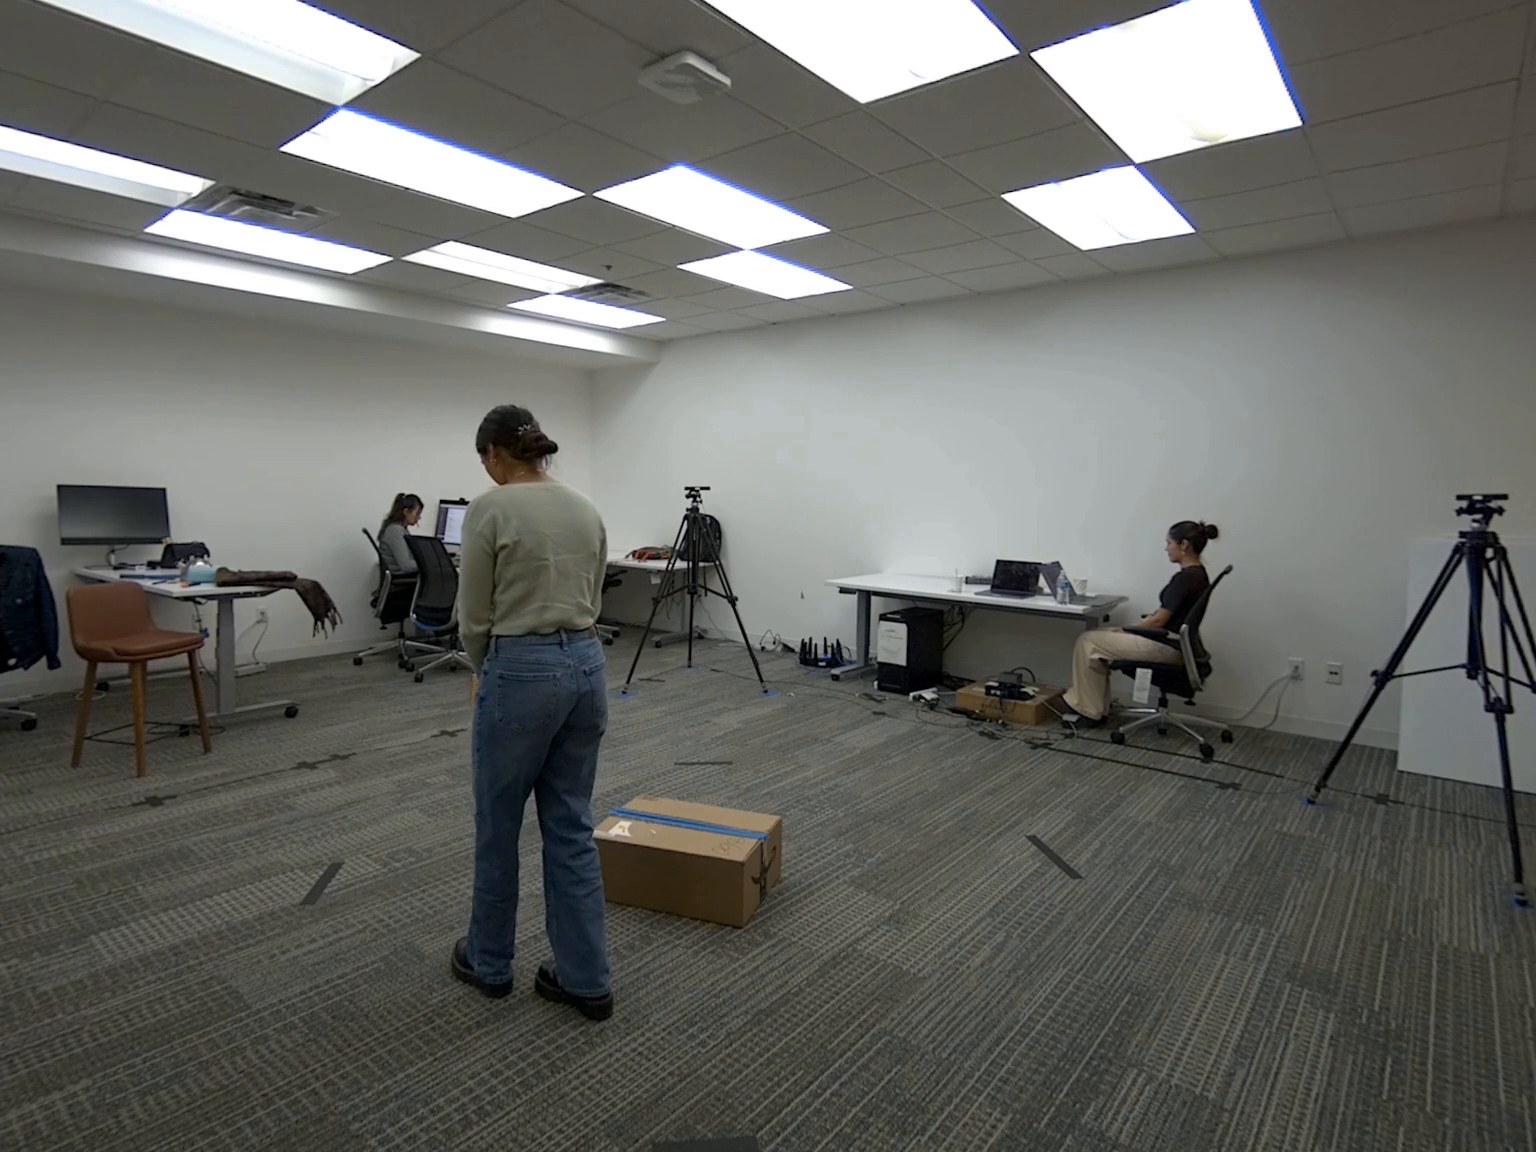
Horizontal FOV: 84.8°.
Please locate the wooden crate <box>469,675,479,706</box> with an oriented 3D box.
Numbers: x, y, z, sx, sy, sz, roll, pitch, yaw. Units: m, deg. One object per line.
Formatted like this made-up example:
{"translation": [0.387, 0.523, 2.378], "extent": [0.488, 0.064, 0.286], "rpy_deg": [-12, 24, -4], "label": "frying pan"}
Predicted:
{"translation": [-0.720, 0.438, 2.540], "extent": [0.292, 0.274, 0.334], "rpy_deg": [9, -5, -33], "label": "wooden crate"}
